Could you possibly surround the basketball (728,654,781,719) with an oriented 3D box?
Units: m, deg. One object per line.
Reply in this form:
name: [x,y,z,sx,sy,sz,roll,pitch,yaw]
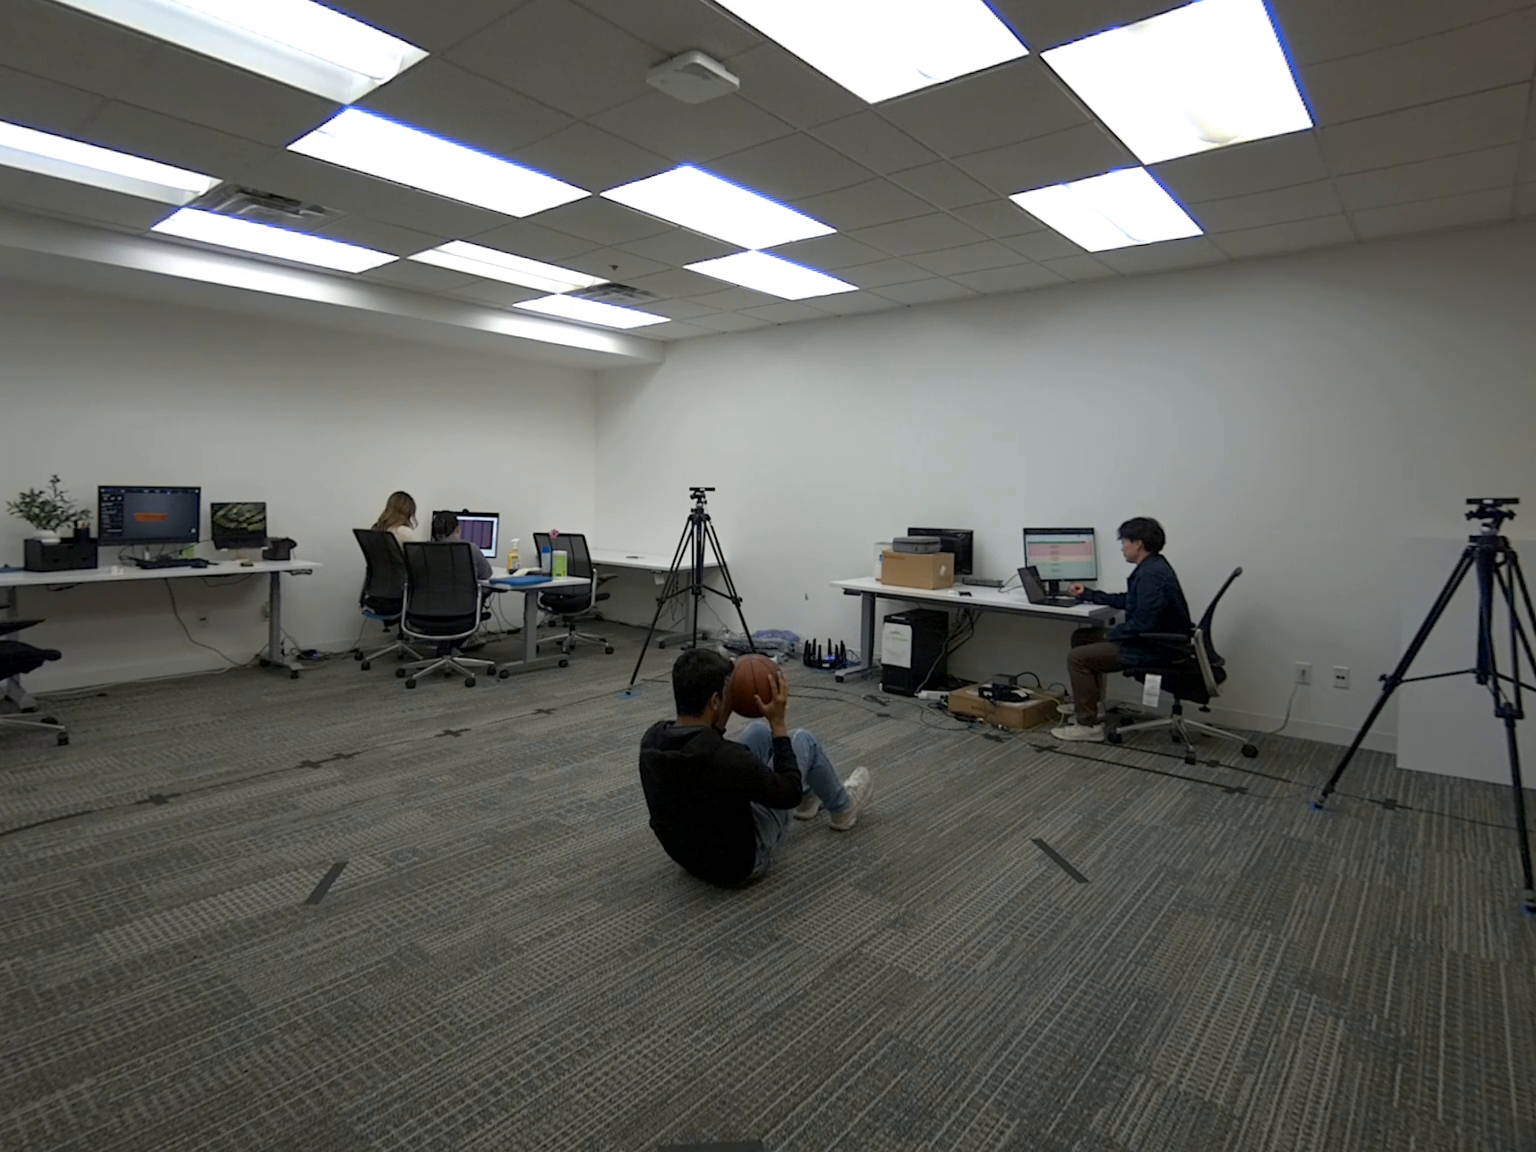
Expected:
basketball: [-0.075,0.410,3.184,0.235,0.235,0.237,1,4,-2]
